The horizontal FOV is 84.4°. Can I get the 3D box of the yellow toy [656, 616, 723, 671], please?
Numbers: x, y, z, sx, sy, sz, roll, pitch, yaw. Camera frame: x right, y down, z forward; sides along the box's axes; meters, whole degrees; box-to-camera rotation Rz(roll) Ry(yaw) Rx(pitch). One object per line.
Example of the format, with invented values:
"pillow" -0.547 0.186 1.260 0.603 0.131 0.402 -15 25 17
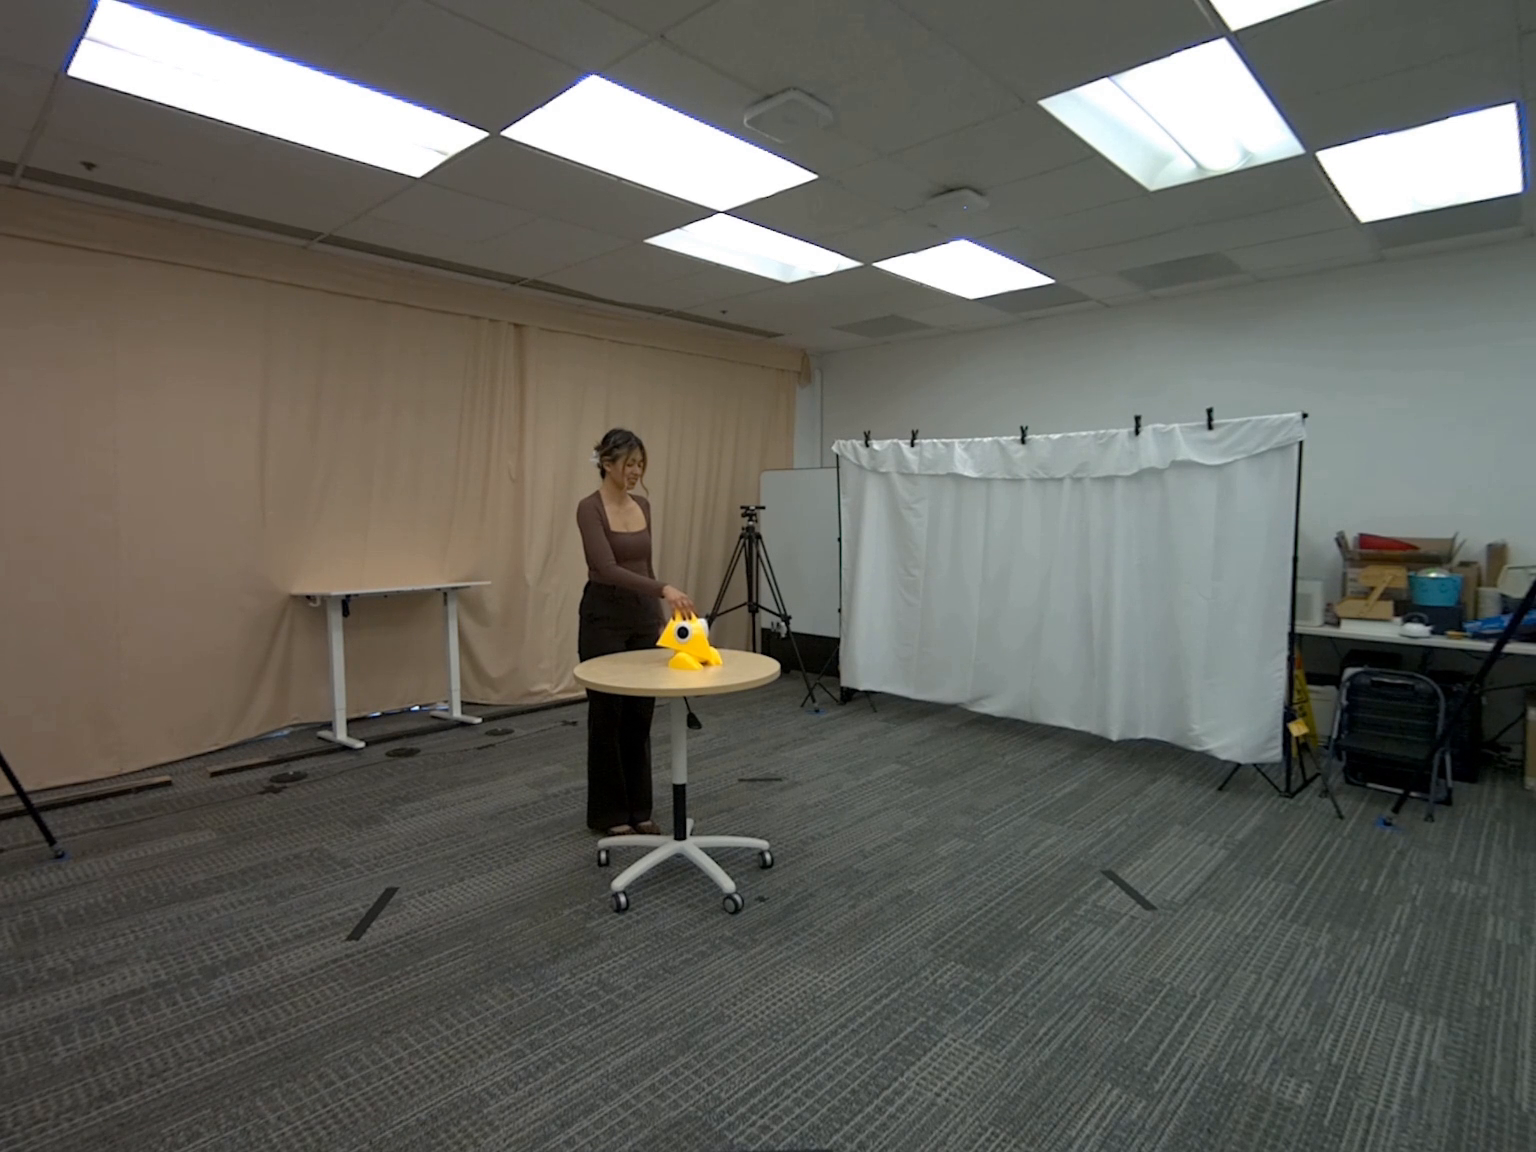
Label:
"yellow toy" -0.284 0.219 3.167 0.199 0.230 0.199 3 6 40
